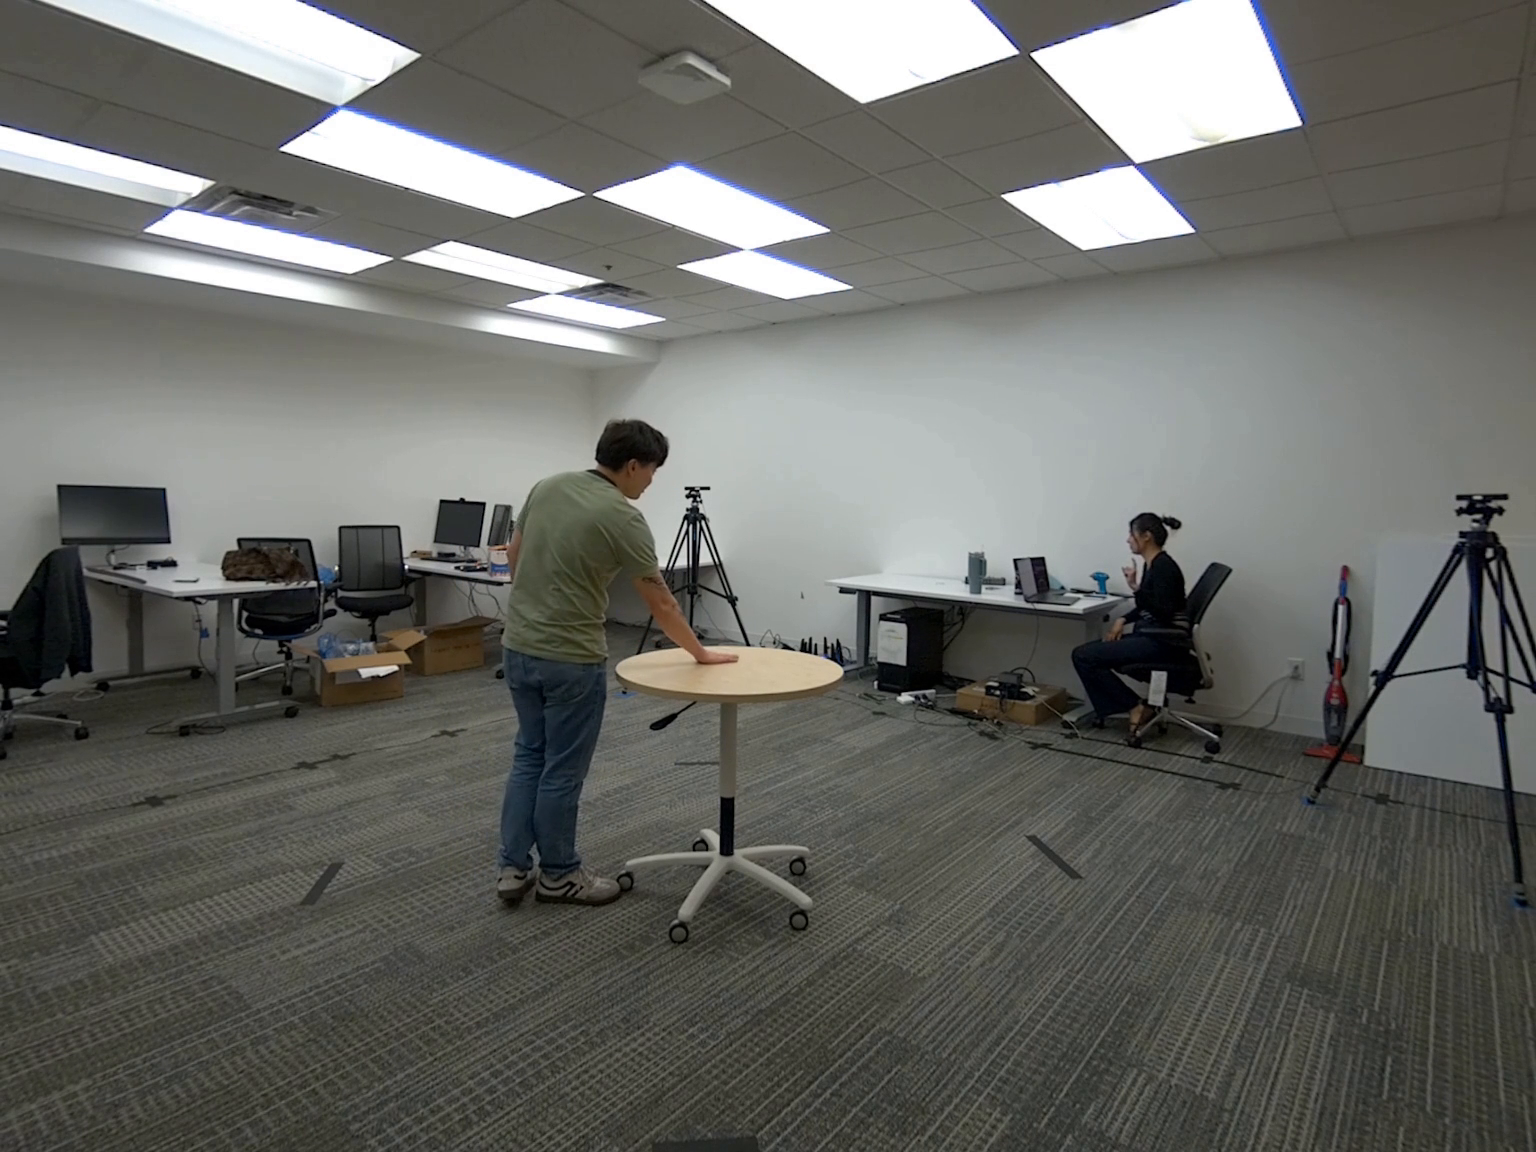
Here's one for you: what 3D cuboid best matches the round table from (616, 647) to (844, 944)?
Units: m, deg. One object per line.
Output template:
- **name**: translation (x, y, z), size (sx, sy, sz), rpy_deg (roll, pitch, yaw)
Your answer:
- **round table**: translation (-0.145, 0.702, 2.889), size (0.763, 0.791, 0.768), rpy_deg (1, 4, -2)
